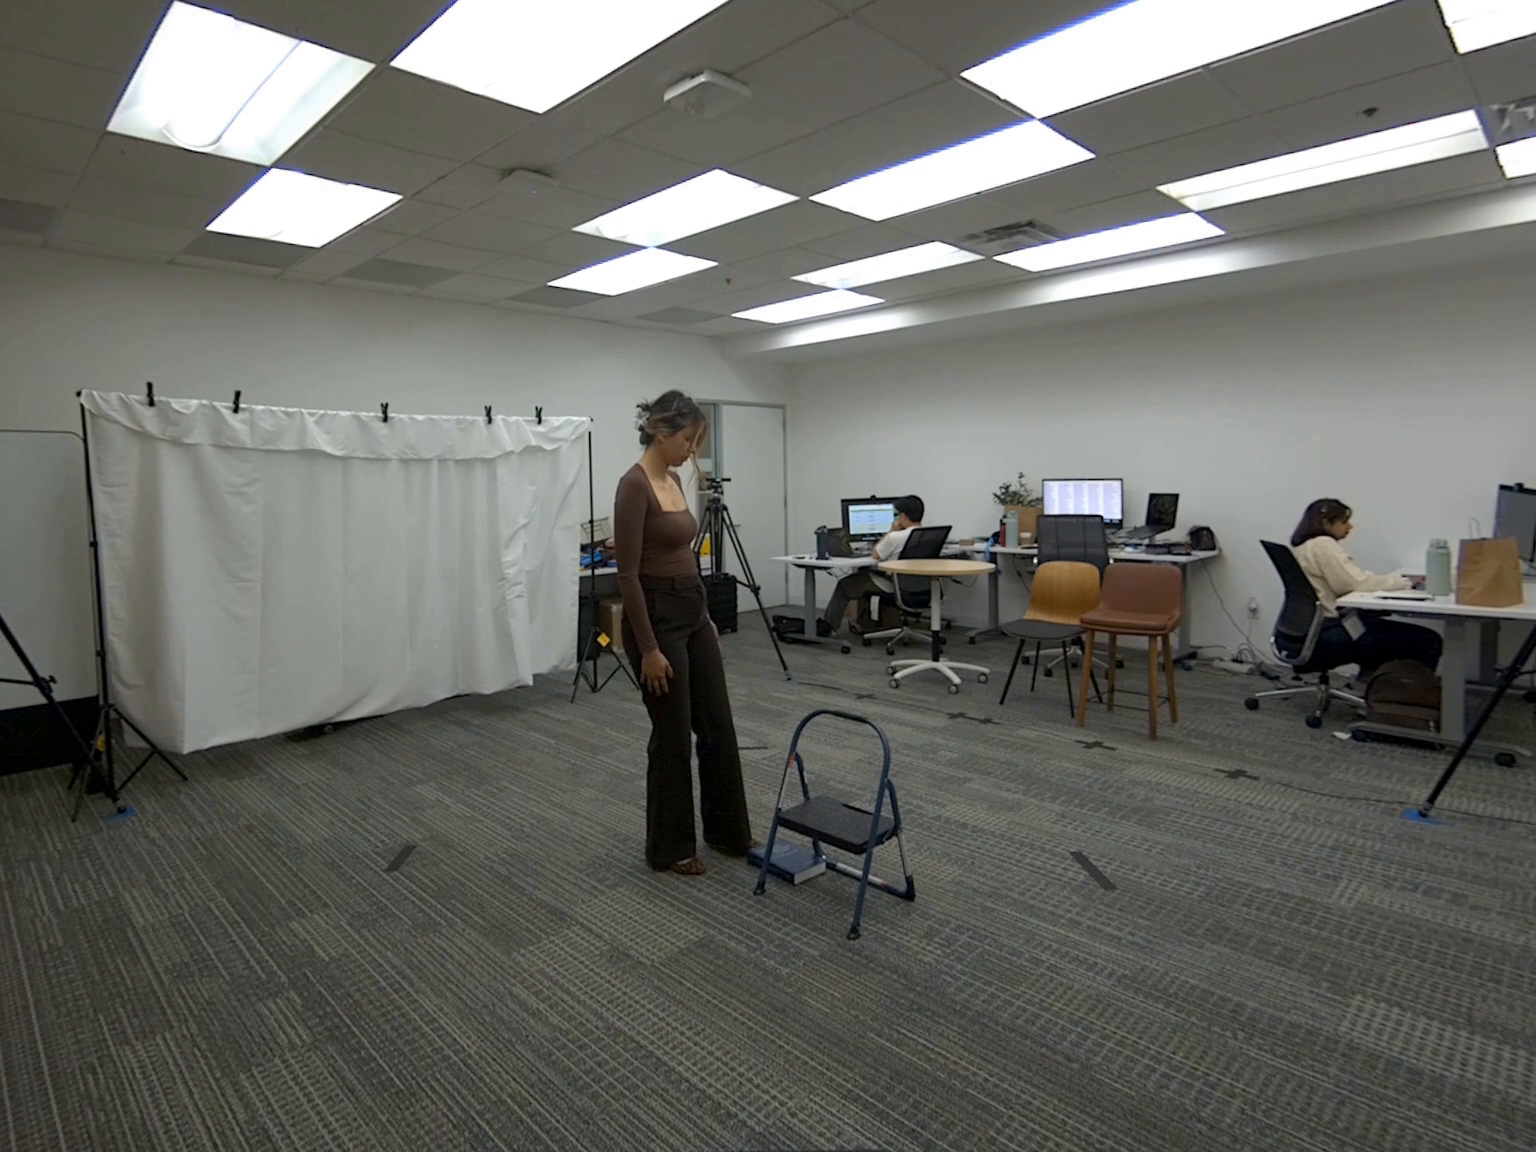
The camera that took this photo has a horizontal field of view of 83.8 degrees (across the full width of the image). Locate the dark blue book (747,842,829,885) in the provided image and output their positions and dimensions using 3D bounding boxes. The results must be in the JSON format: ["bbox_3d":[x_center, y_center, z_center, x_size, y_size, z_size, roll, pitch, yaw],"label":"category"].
[{"bbox_3d":[0.066,1.019,3.055,0.159,0.045,0.253,-6,8,-41],"label":"dark blue book"}]
